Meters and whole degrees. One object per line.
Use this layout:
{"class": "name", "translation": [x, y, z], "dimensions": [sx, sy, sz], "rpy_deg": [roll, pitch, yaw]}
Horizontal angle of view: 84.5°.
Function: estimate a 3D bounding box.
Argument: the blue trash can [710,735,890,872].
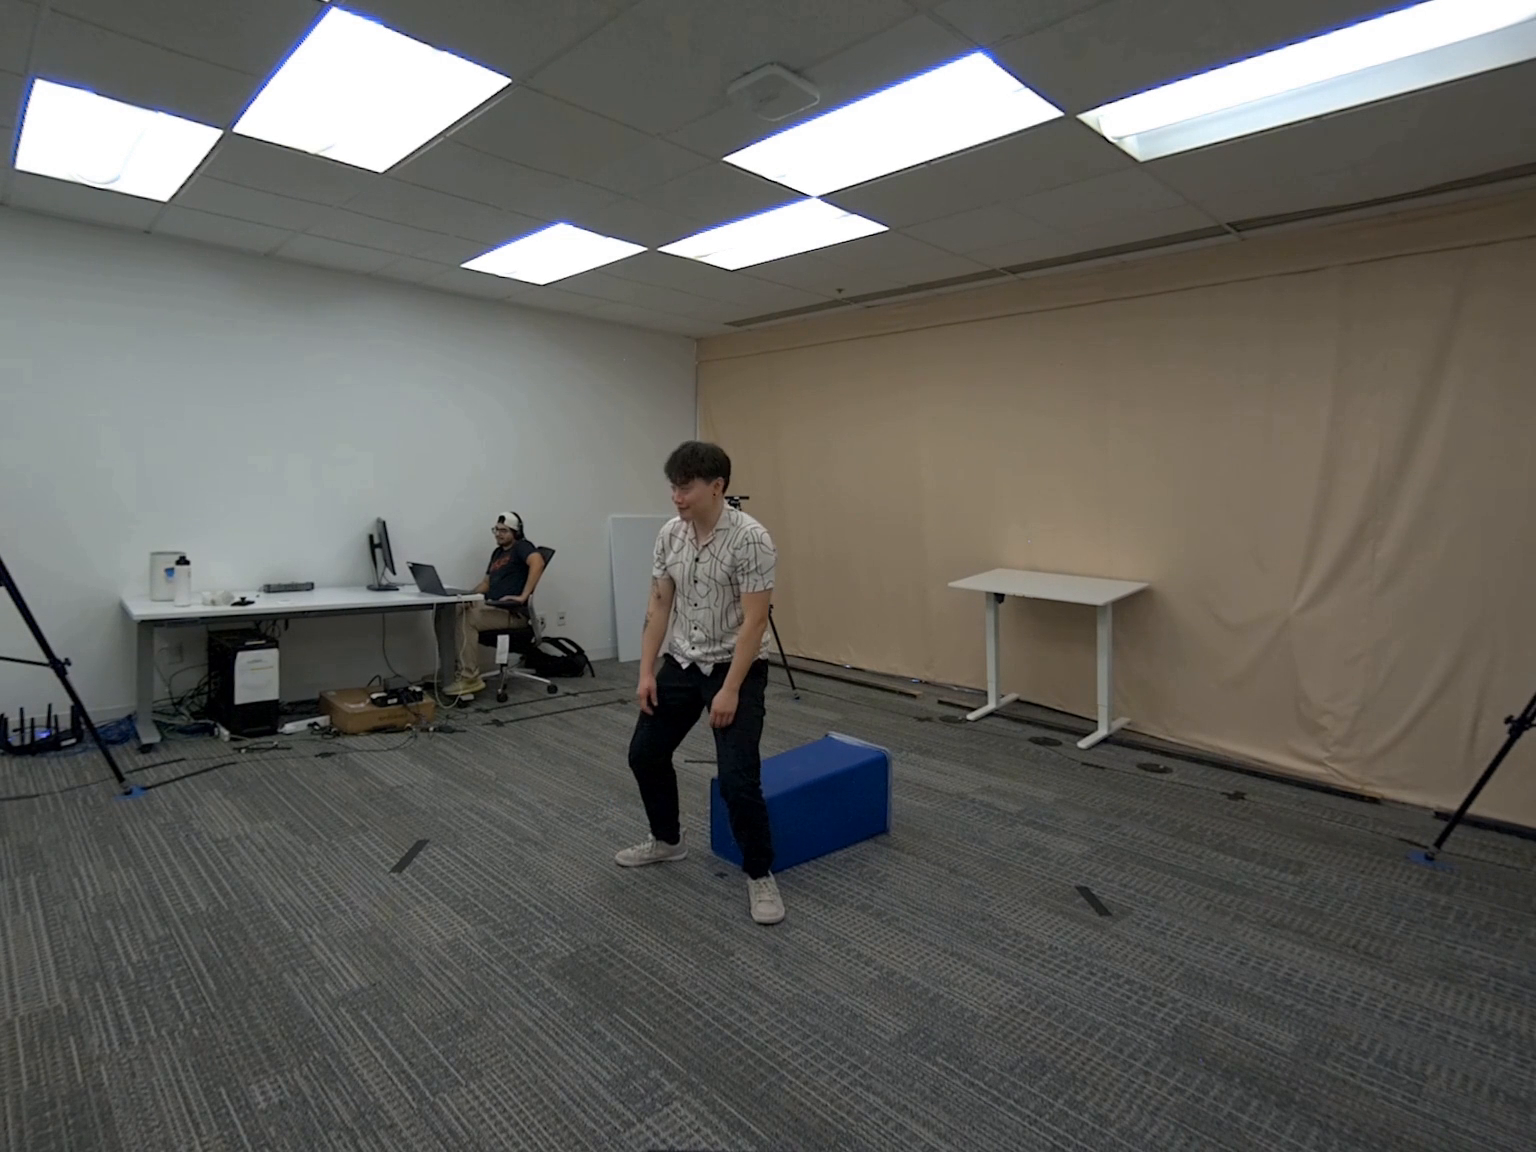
{"class": "blue trash can", "translation": [0.121, 0.911, 3.410], "dimensions": [0.698, 0.376, 0.384], "rpy_deg": [-5, 8, -41]}
